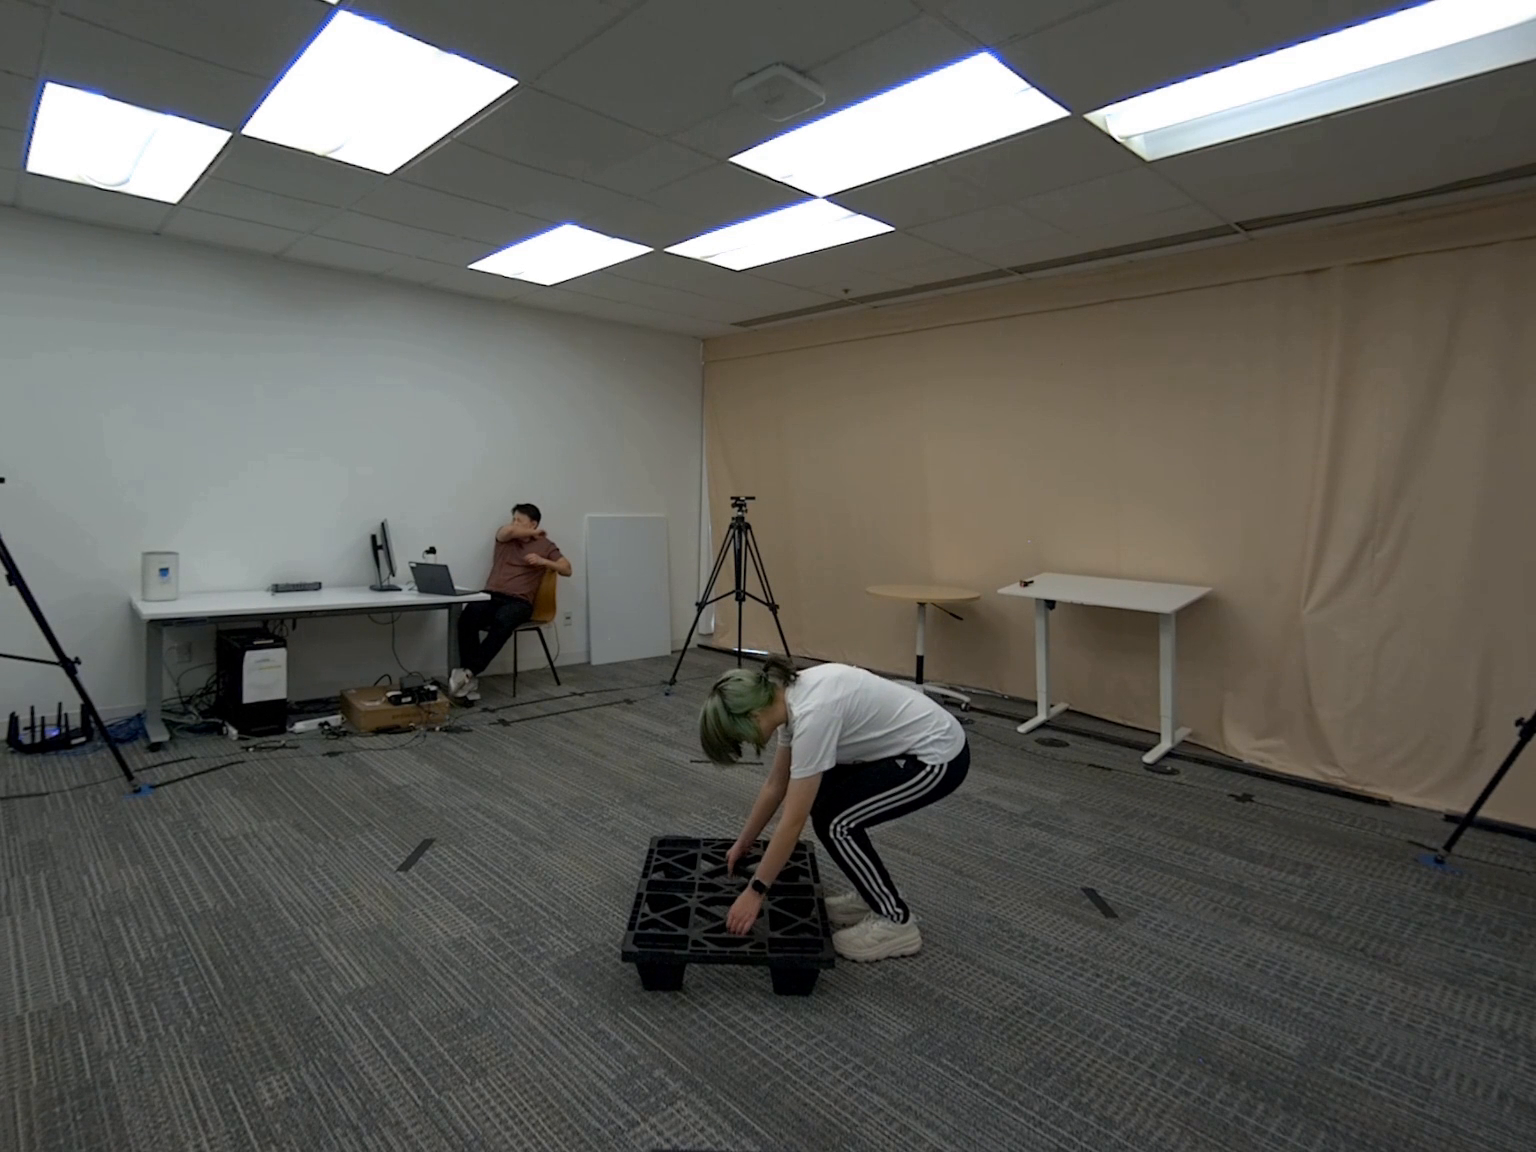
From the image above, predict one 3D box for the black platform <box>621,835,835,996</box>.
[{"bbox_3d":[-0.124,1.068,2.727,0.605,0.143,0.808,2,5,-1],"label":"black platform"}]
